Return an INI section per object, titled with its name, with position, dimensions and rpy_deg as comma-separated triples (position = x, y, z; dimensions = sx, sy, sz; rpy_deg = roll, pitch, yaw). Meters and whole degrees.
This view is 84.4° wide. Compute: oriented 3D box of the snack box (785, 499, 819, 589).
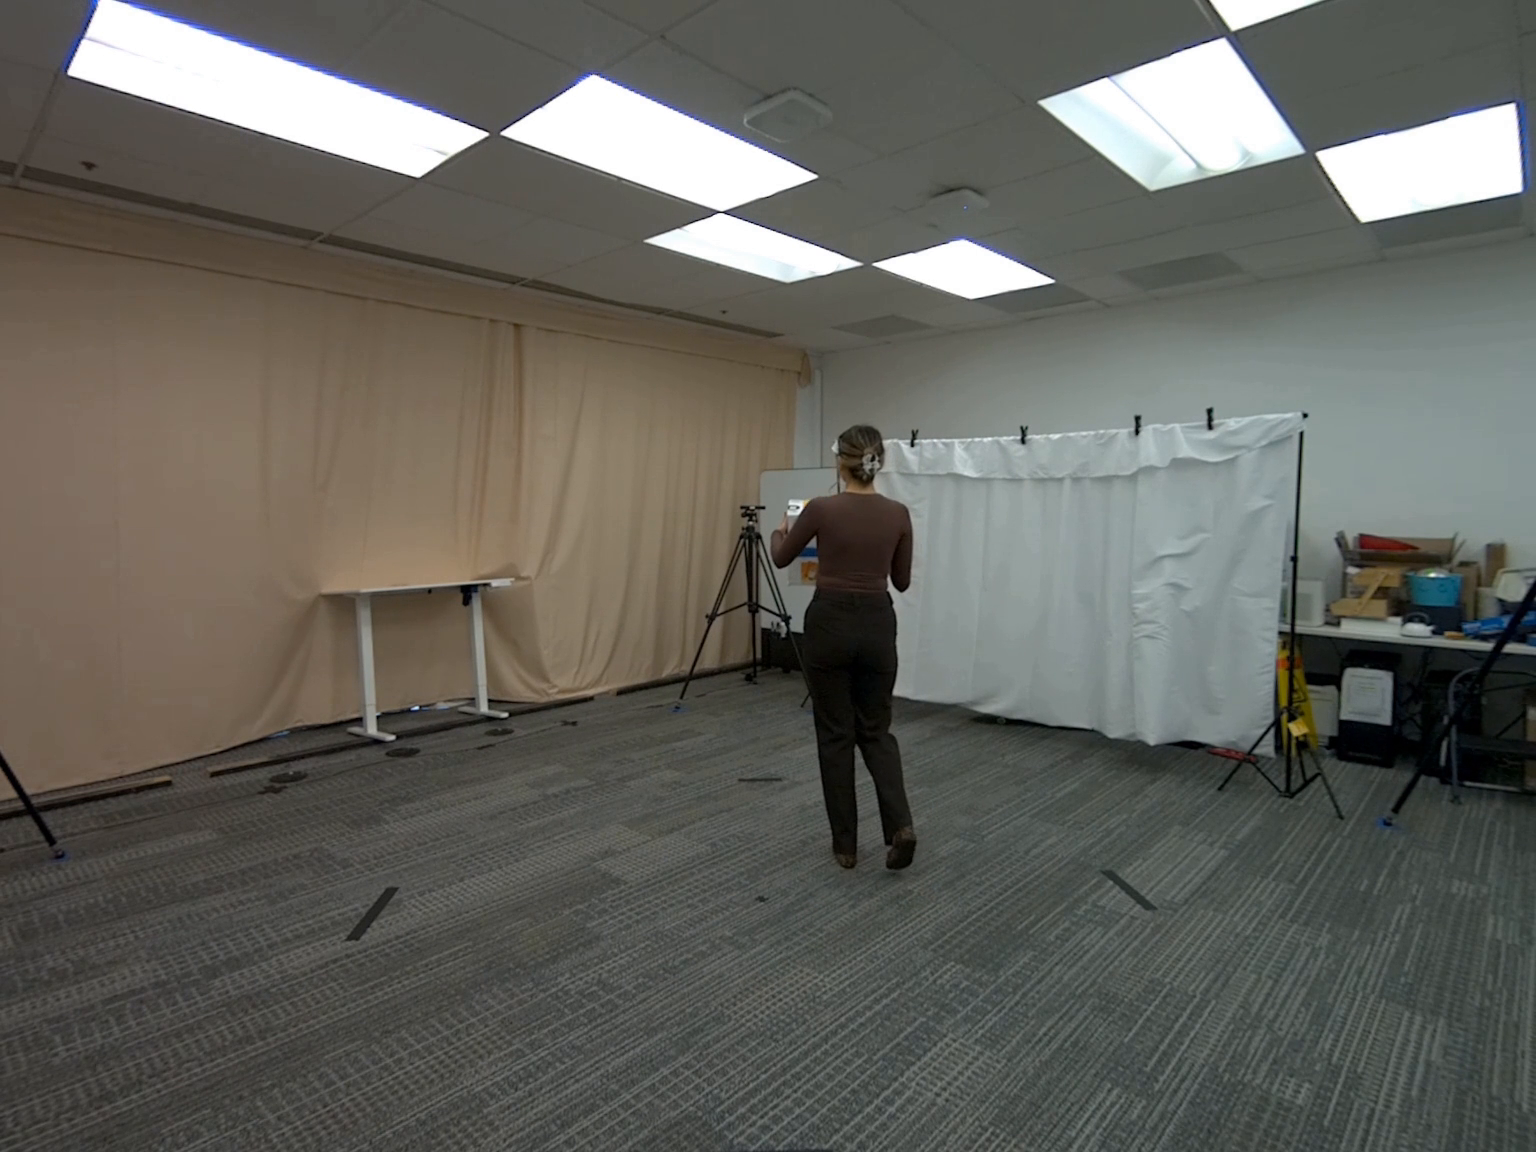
[snack box]
position = 0.299, -0.152, 3.766
dimensions = 0.408, 0.335, 0.207
rpy_deg = 1, 24, 7
